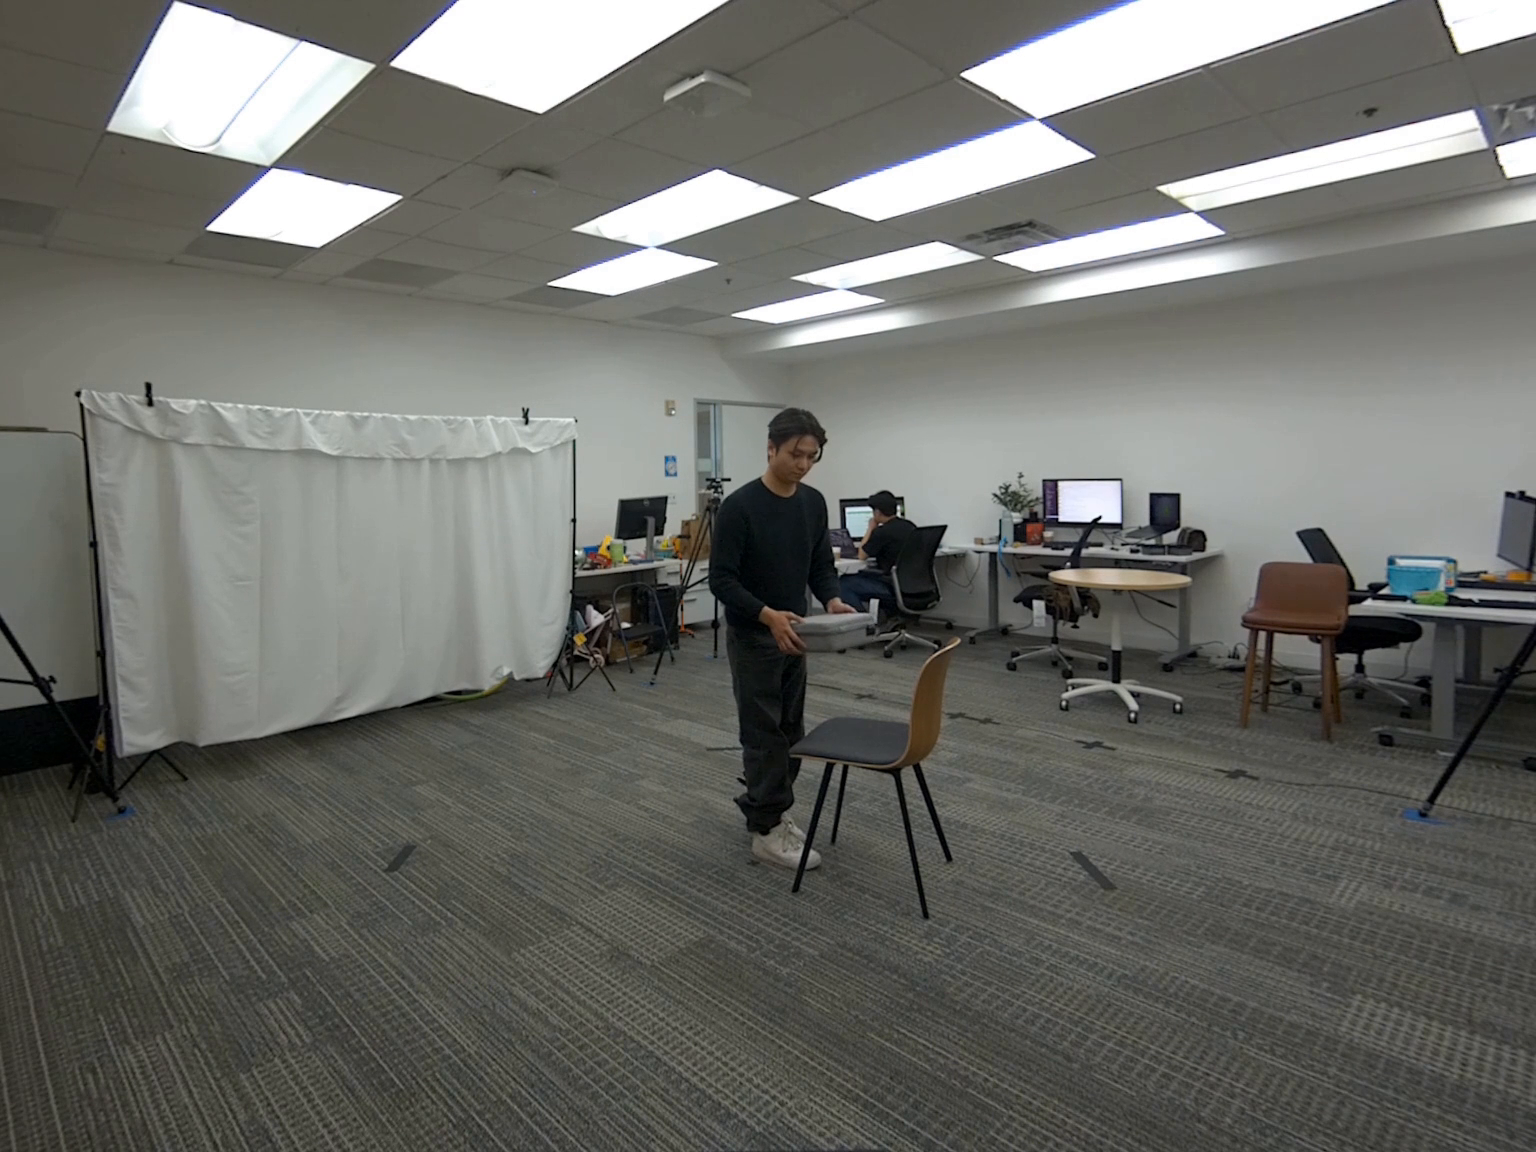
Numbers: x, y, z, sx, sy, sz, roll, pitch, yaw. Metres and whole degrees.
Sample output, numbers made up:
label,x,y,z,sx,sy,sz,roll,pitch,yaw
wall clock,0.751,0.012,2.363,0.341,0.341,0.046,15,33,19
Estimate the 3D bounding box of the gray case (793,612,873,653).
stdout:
label,x,y,z,sx,sy,sz,roll,pitch,yaw
gray case,0.208,0.196,2.955,0.250,0.104,0.267,-9,2,-41
